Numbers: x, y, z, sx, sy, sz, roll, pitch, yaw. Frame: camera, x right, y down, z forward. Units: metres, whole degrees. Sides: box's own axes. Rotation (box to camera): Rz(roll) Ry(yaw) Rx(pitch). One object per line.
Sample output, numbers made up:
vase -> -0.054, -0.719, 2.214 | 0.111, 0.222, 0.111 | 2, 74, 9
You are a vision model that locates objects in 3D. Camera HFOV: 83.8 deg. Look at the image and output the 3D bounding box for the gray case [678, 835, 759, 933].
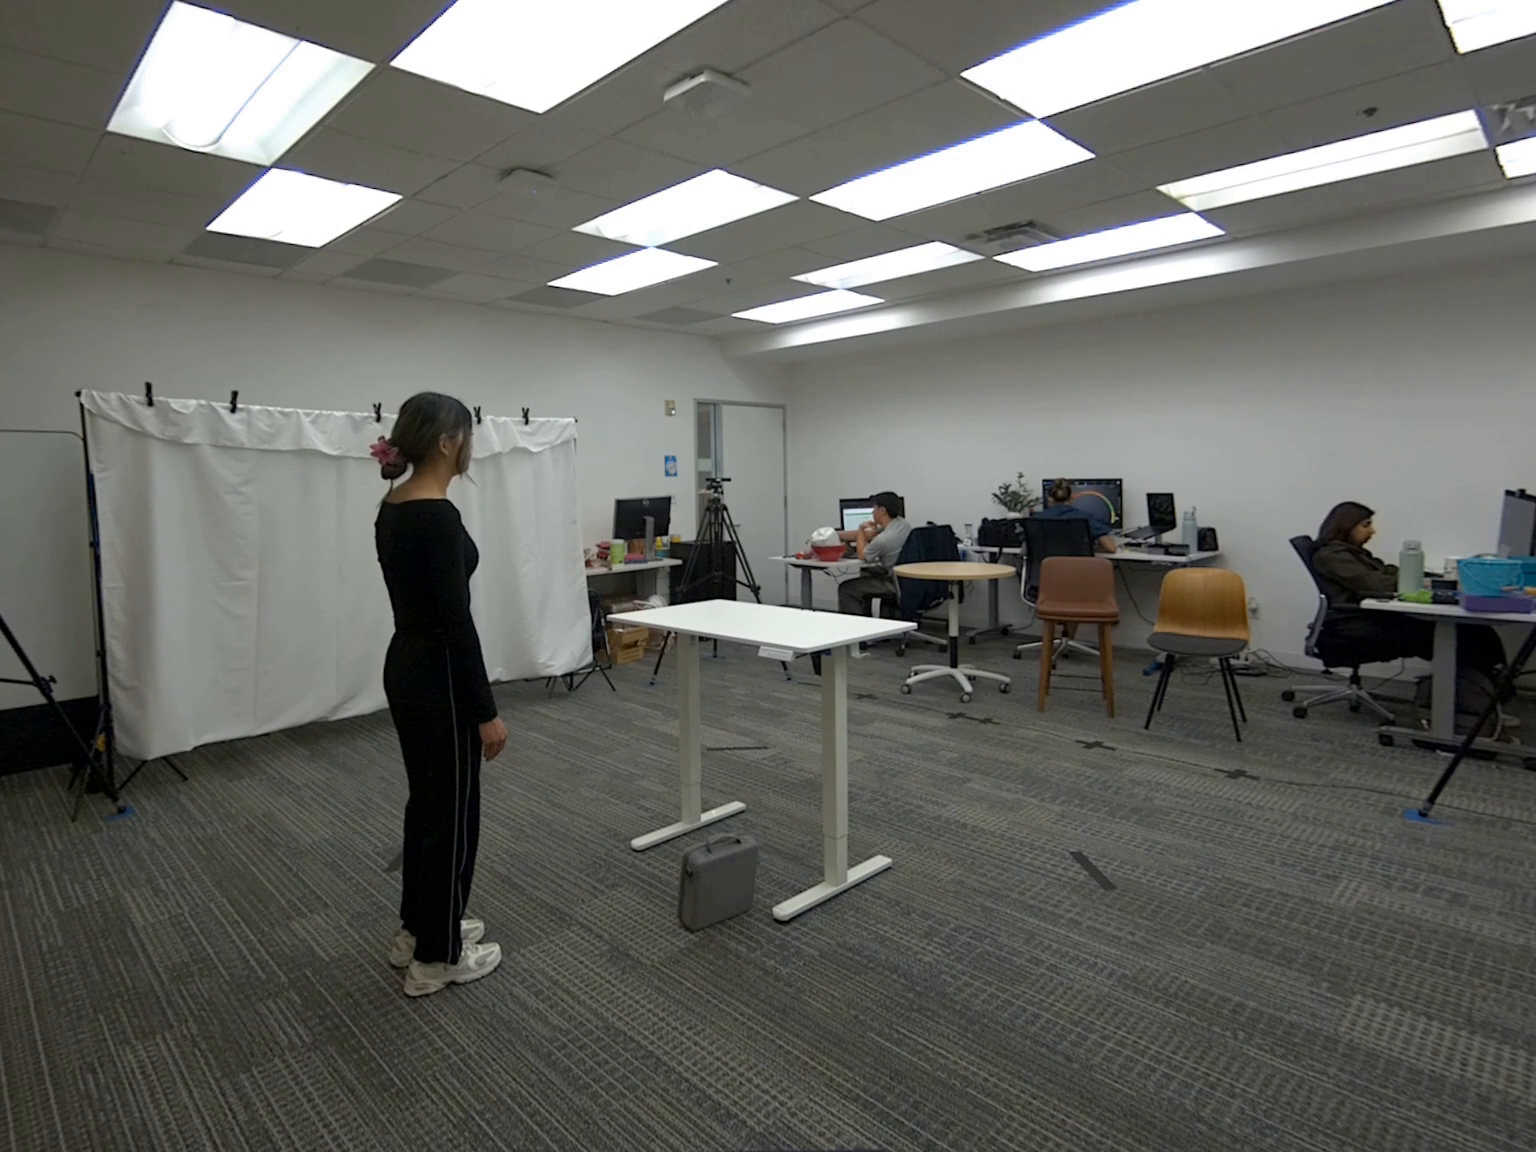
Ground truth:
gray case -> -0.153, 0.959, 2.708 | 0.250, 0.258, 0.108 | -4, 15, -36
